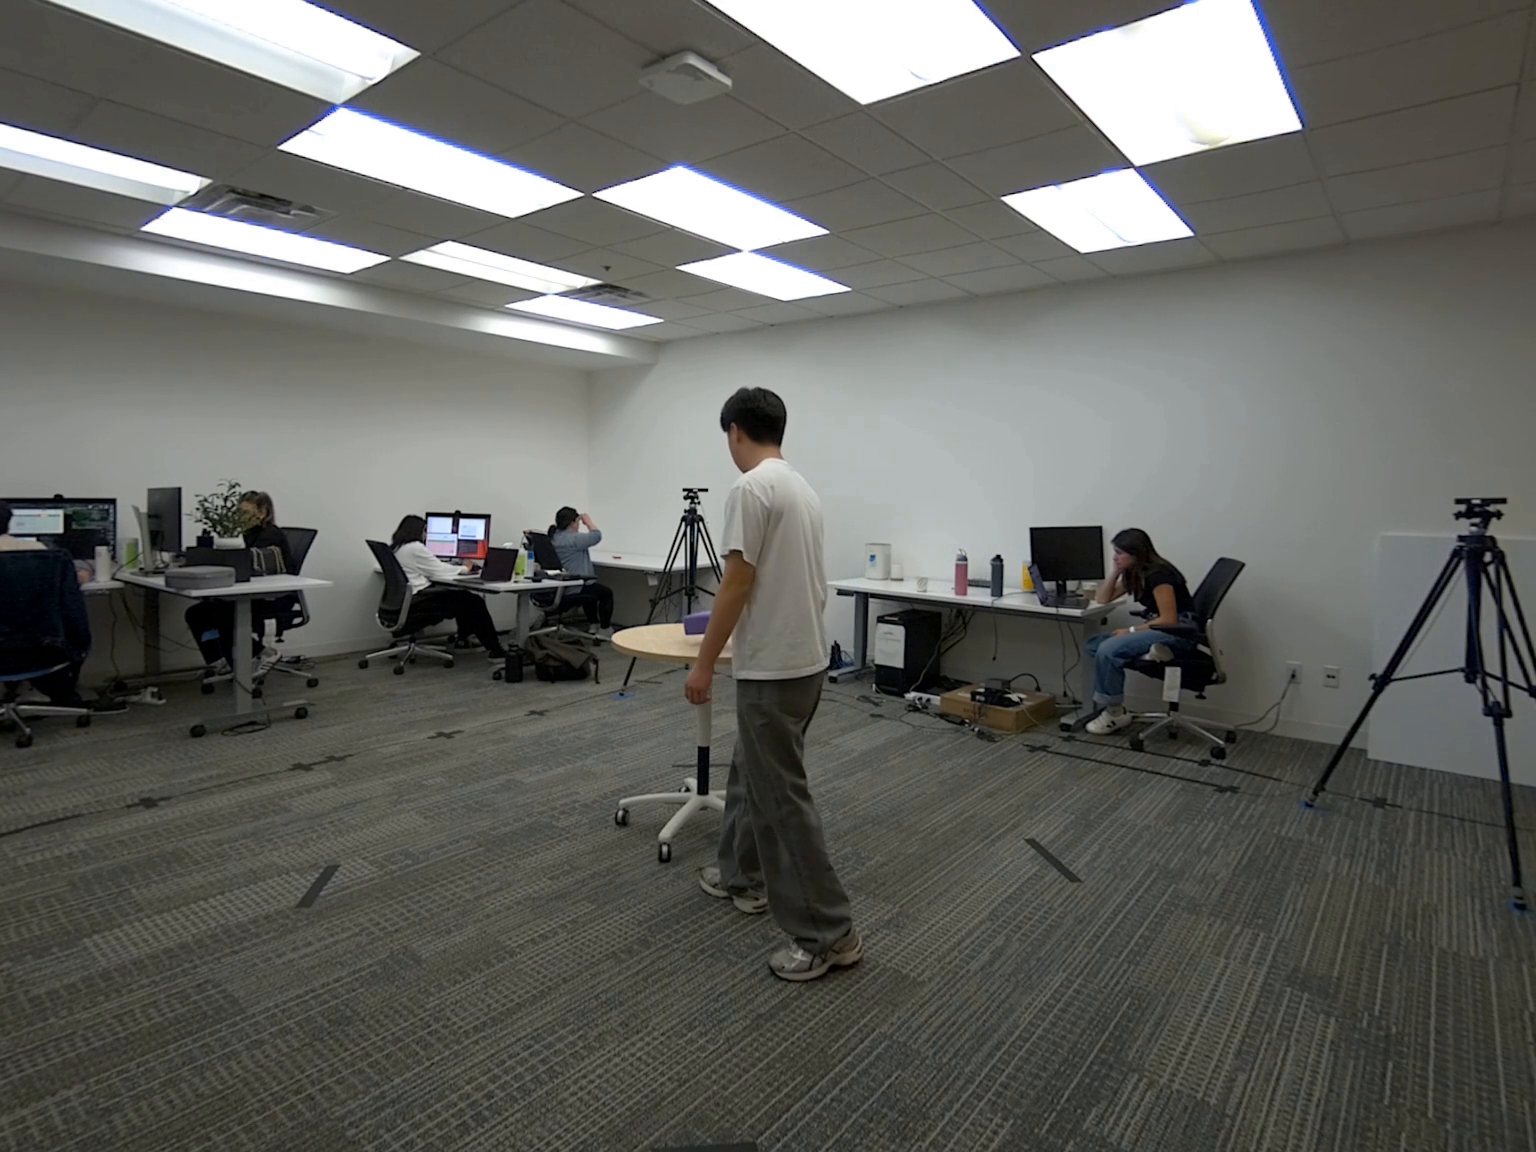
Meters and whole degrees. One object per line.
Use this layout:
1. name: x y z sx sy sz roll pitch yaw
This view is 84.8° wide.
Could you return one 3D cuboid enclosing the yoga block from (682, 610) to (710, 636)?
1. yoga block: -0.207 0.160 3.294 0.235 0.076 0.146 -5 3 28
